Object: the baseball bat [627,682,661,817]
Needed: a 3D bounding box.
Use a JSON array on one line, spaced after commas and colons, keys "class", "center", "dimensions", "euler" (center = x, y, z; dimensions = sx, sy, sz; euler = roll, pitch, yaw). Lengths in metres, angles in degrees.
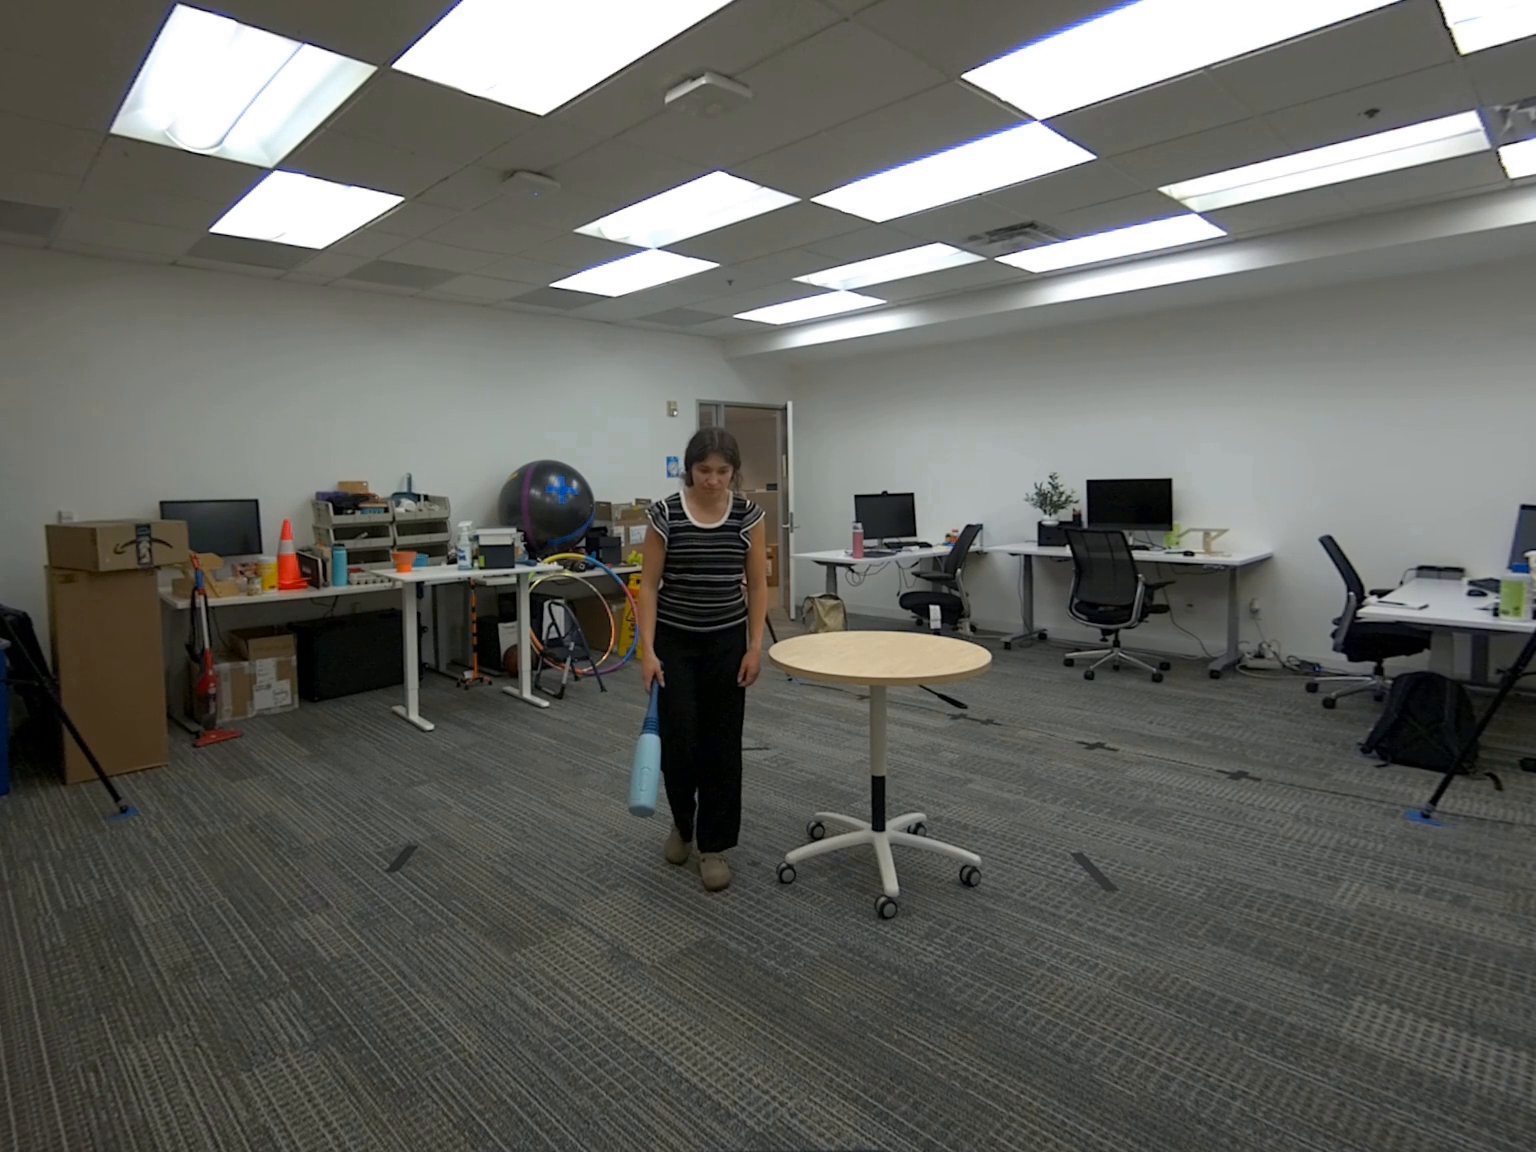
[{"class": "baseball bat", "center": [-0.384, 0.511, 2.746], "dimensions": [0.089, 0.557, 0.087], "euler": [1, -41, -1]}]
